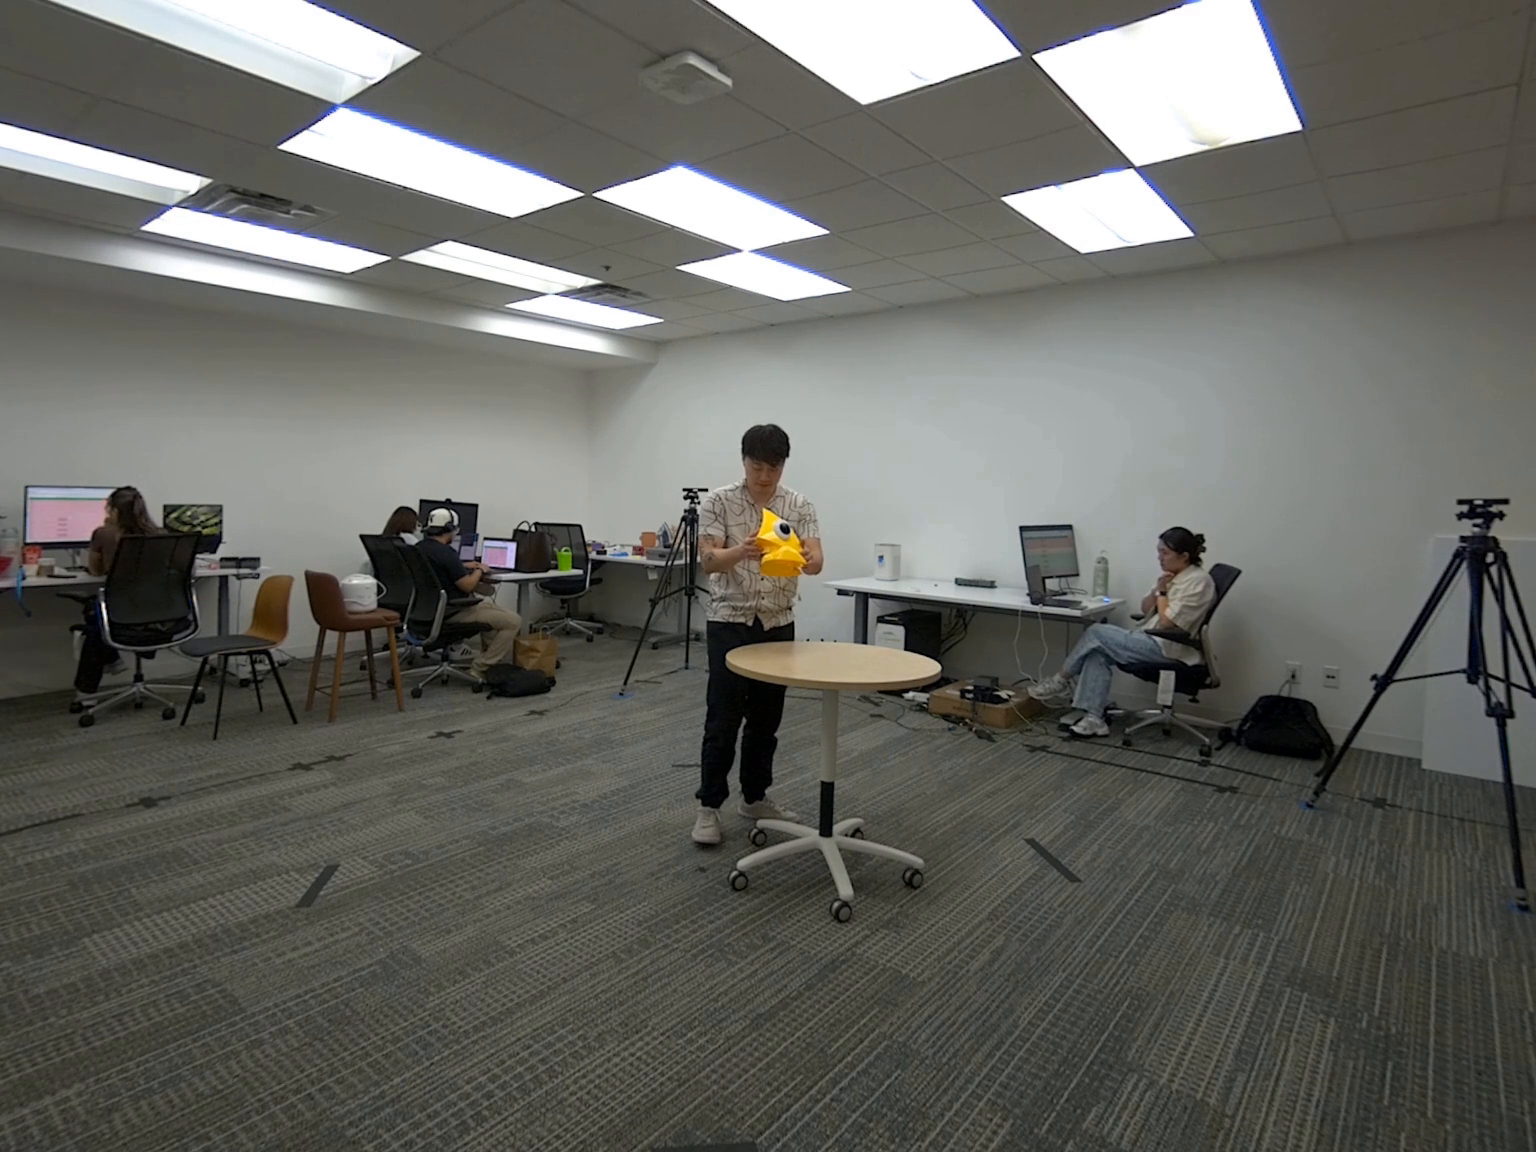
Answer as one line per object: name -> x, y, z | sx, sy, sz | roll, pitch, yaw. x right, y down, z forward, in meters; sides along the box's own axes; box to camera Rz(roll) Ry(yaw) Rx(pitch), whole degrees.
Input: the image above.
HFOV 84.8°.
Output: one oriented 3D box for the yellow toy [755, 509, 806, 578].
yellow toy -> 0.033, -0.140, 3.104 | 0.192, 0.235, 0.202 | 0, -19, -4
